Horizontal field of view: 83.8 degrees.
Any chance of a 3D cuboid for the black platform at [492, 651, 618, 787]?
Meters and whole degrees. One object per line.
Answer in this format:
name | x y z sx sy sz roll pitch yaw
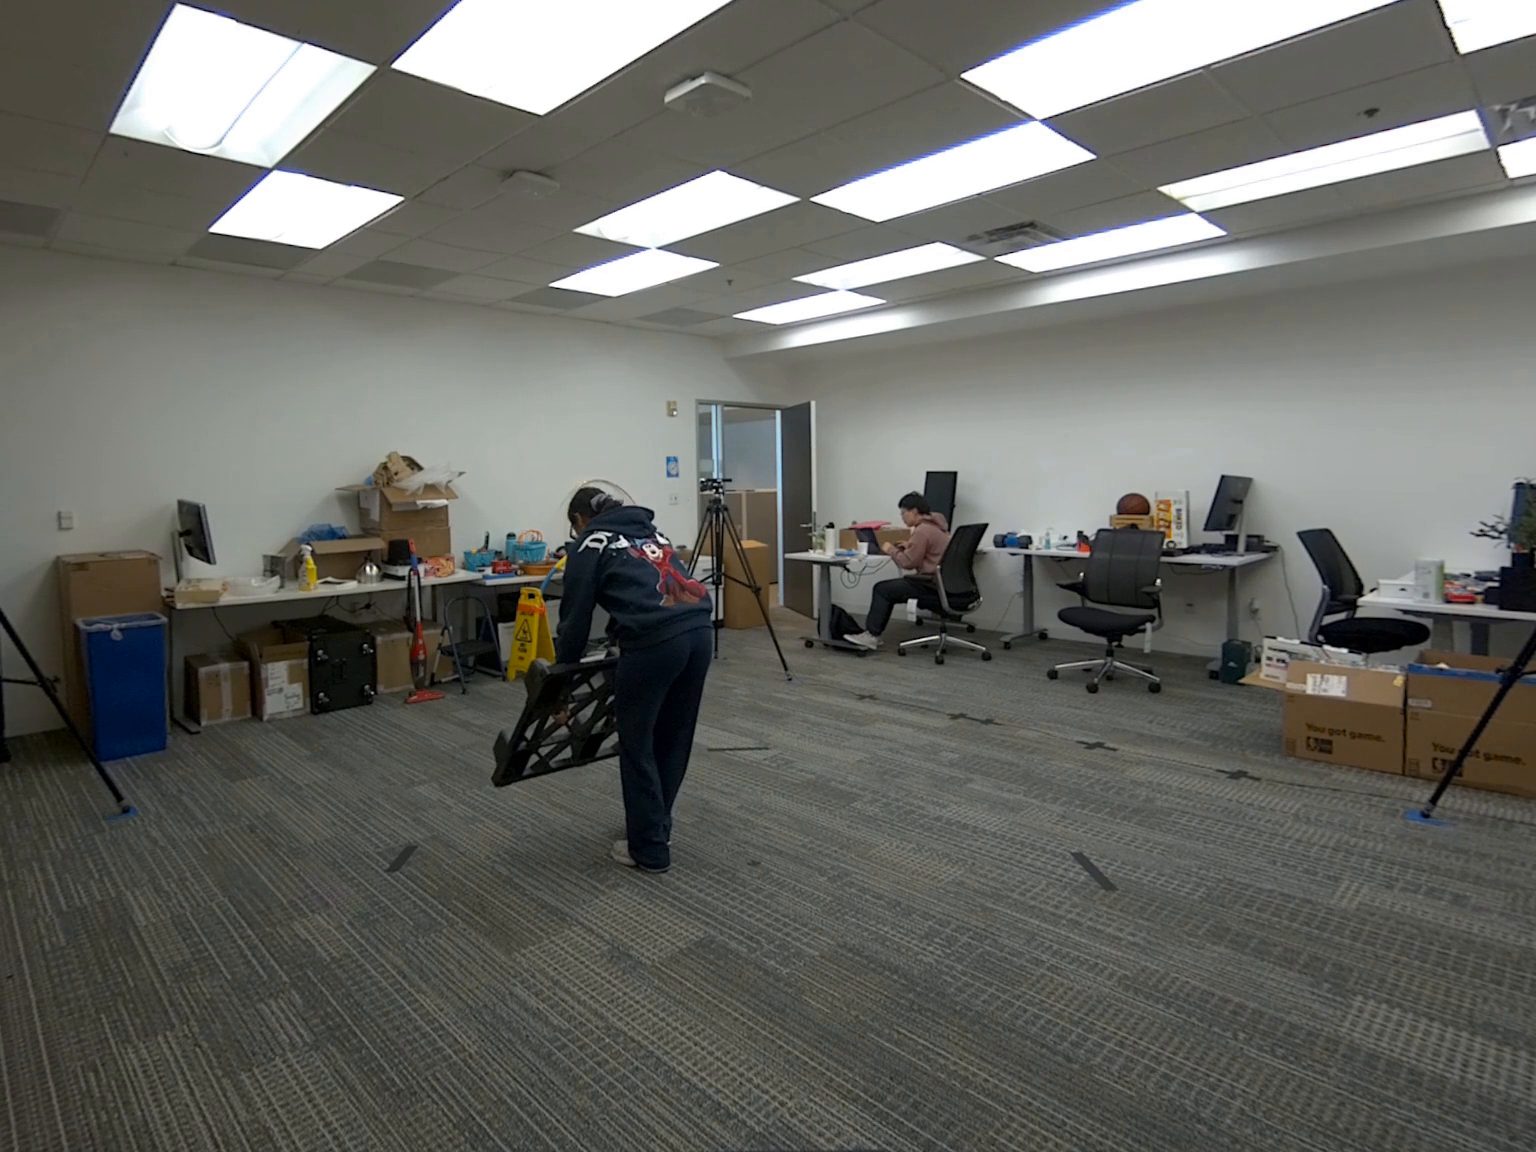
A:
black platform | -0.657 0.497 3.354 0.783 0.600 0.148 -4 41 -47
